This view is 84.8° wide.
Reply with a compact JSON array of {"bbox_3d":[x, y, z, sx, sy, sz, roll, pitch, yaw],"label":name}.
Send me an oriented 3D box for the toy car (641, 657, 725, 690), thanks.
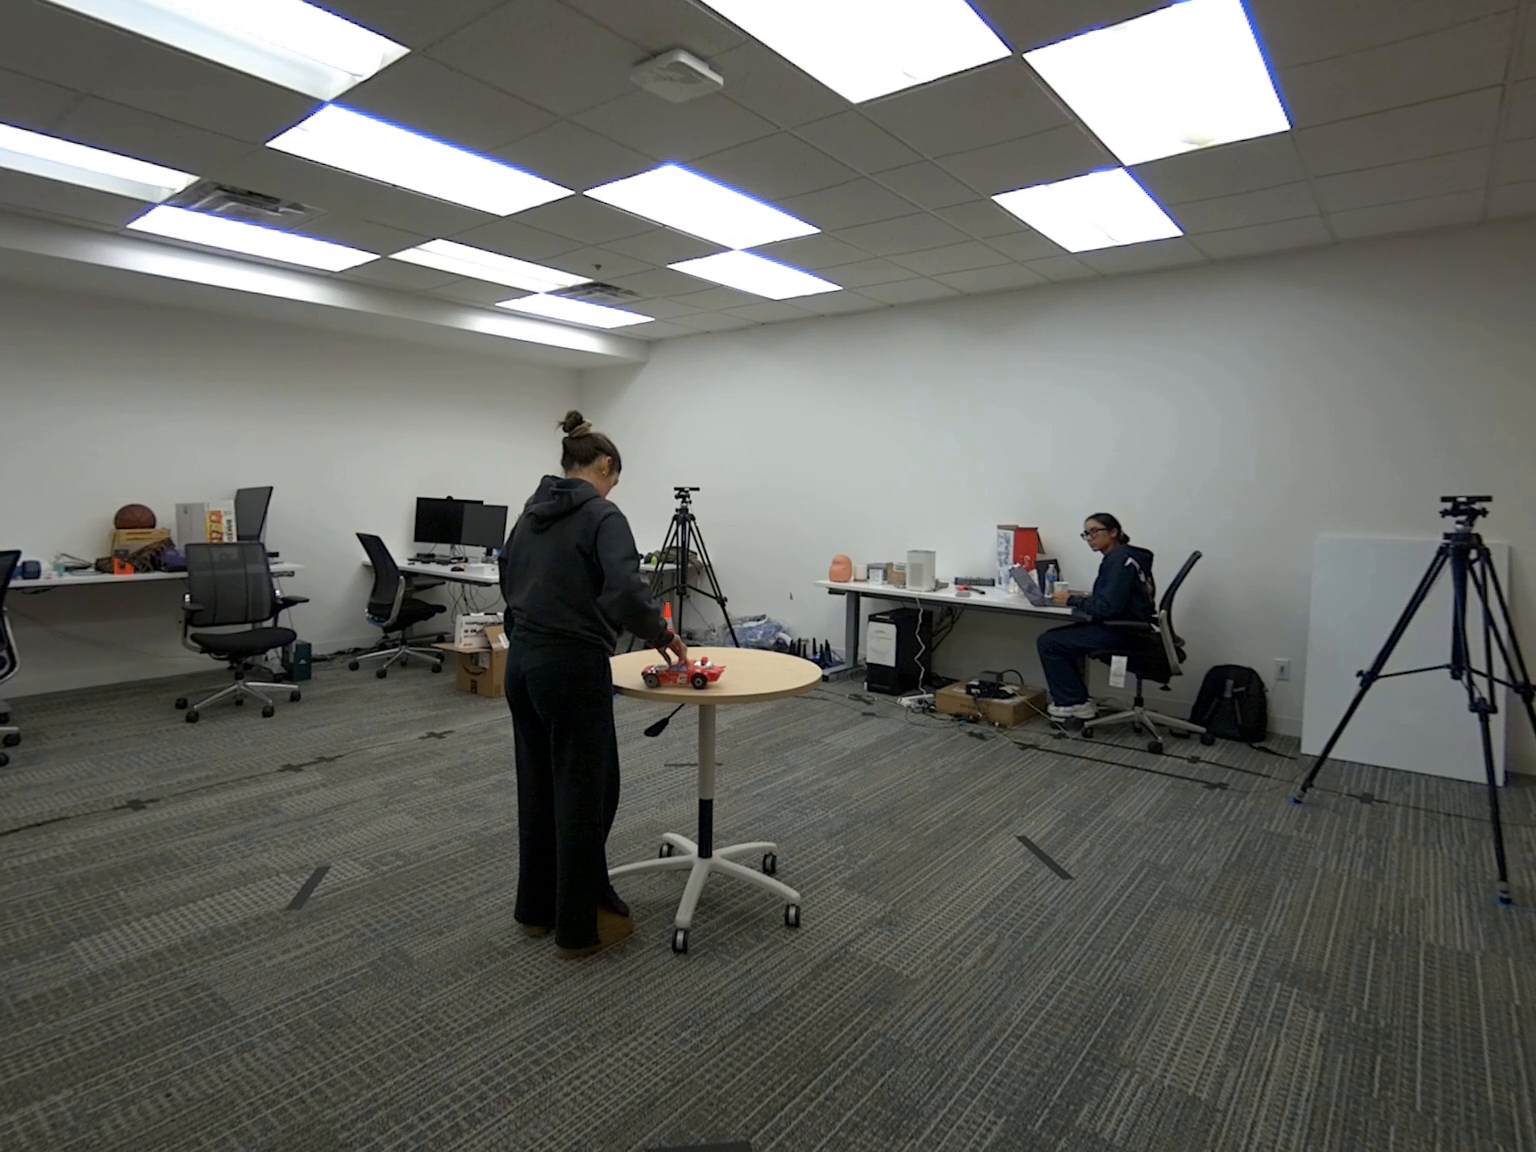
[{"bbox_3d":[-0.255,0.304,2.605,0.256,0.083,0.130,-10,4,5],"label":"toy car"}]
